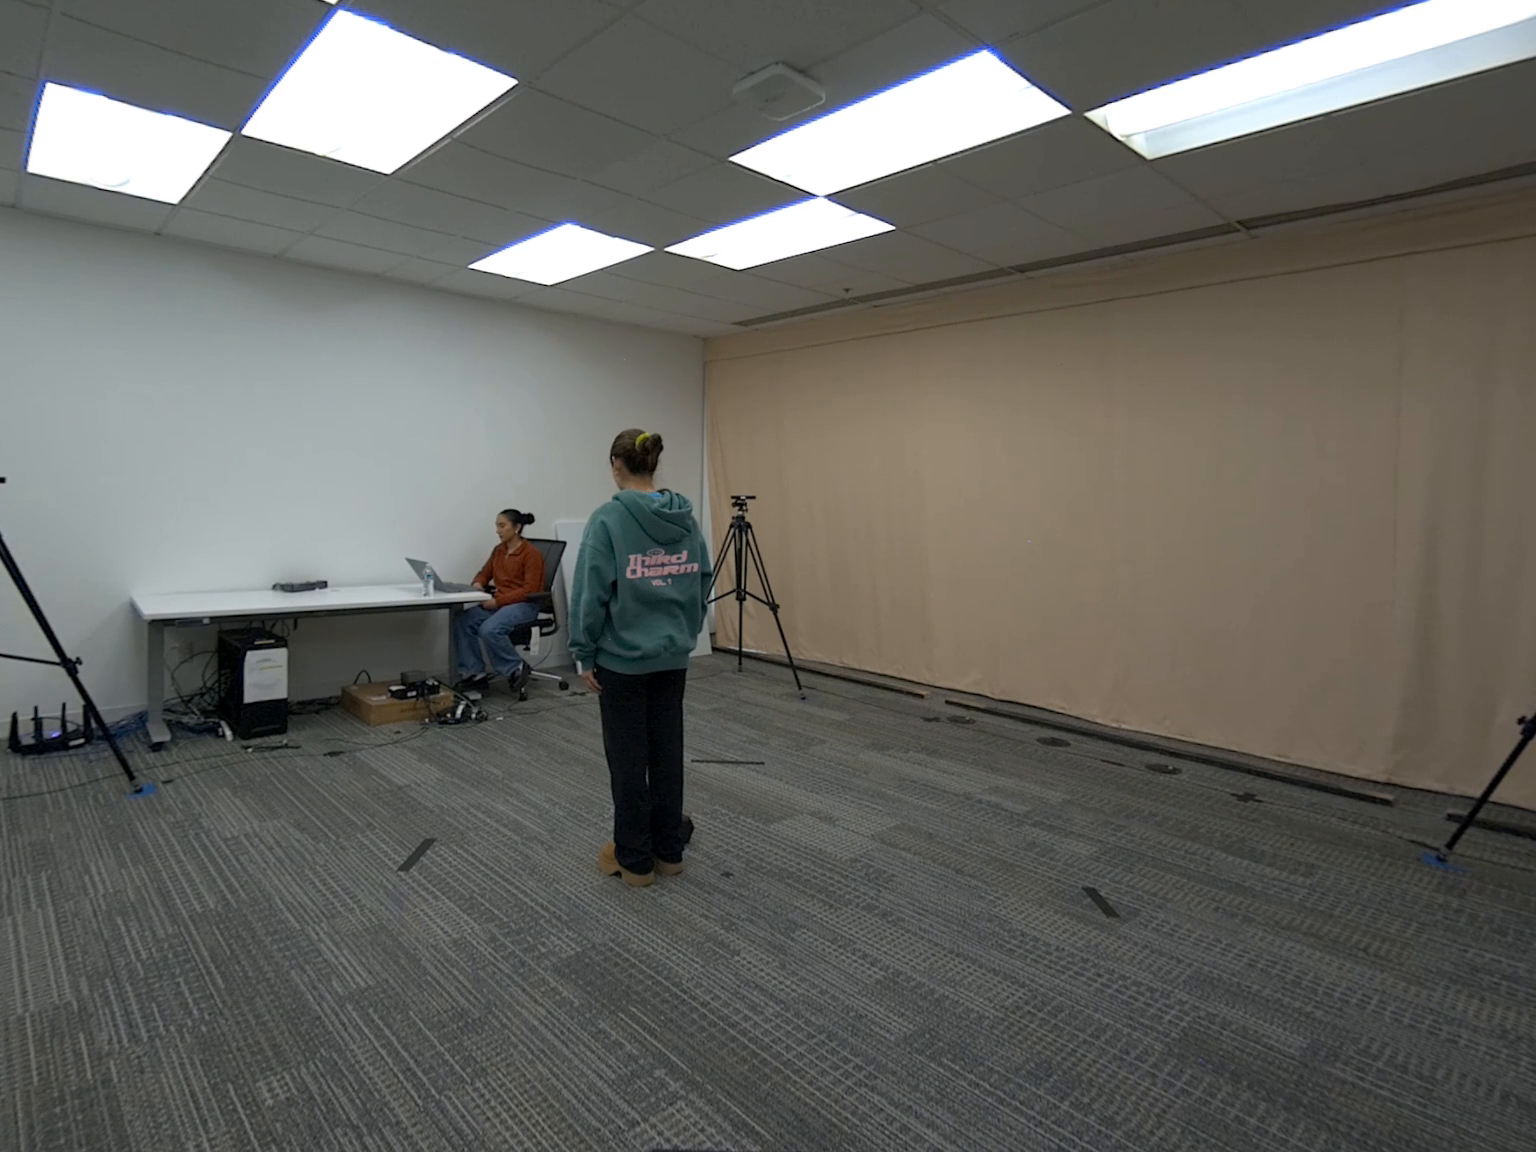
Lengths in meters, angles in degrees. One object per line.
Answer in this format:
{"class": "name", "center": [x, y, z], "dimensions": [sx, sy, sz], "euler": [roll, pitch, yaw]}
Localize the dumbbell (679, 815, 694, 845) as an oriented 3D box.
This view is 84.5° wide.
{"class": "dumbbell", "center": [-0.439, 1.013, 3.464], "dimensions": [0.301, 0.123, 0.105], "euler": [7, -25, 47]}
